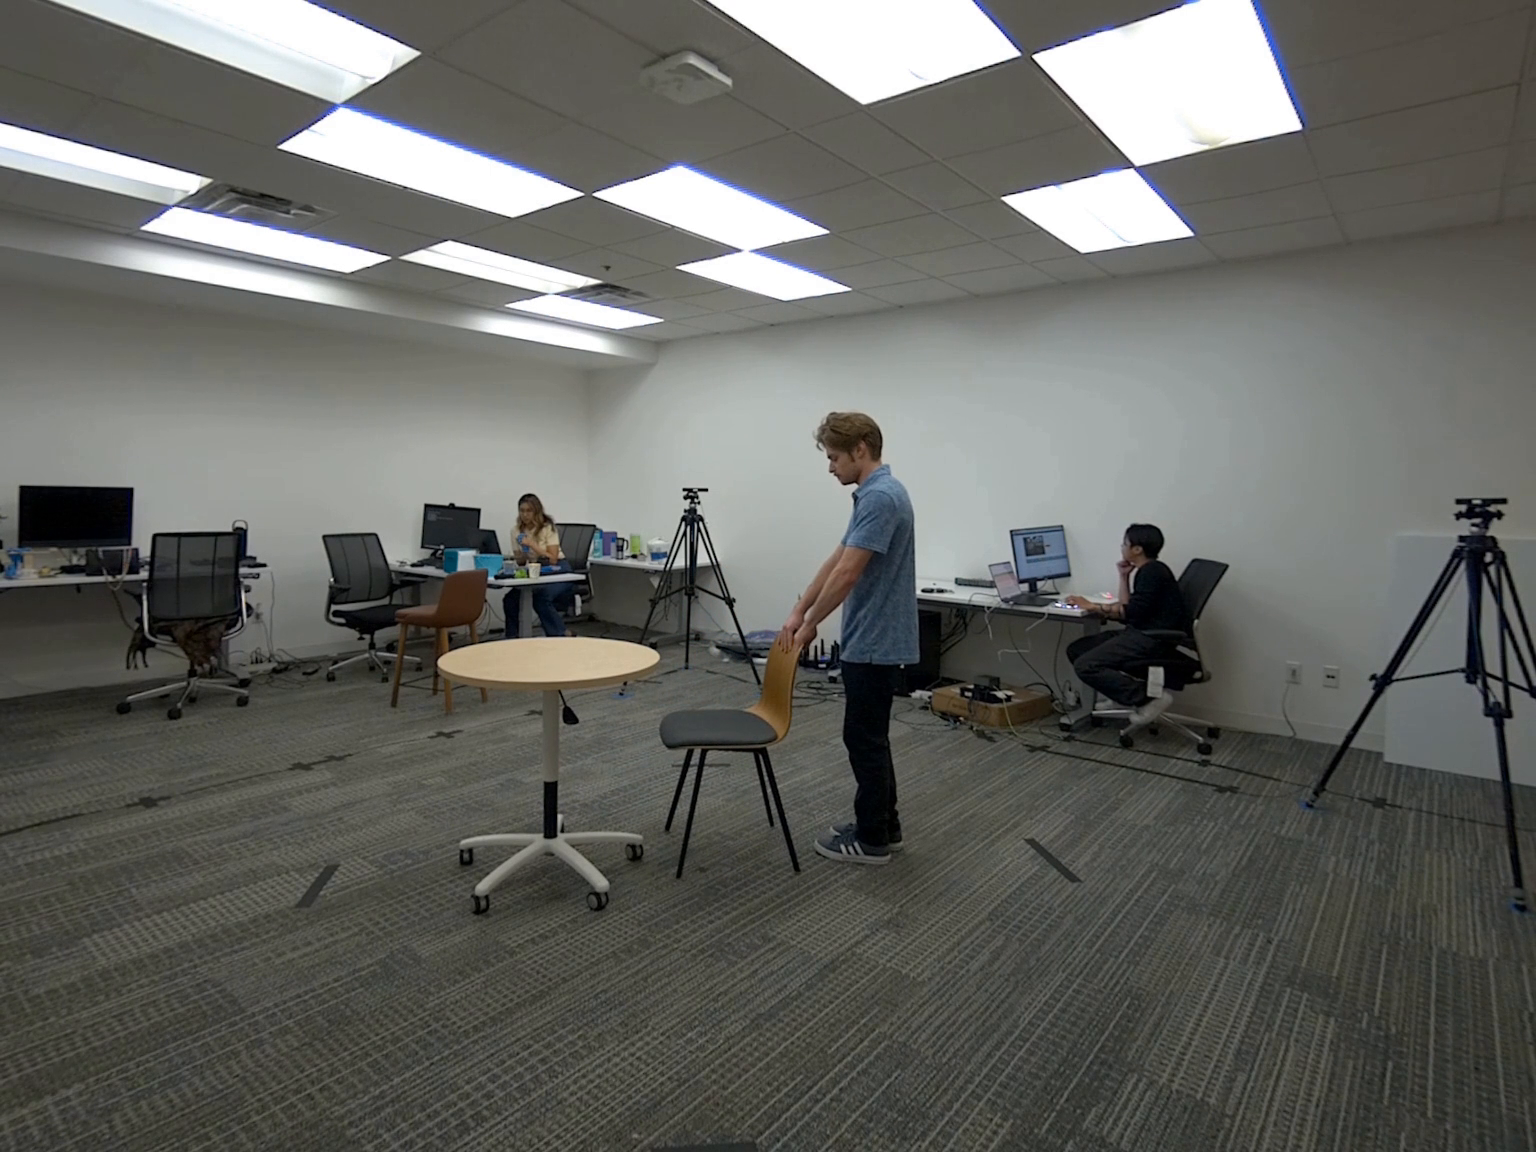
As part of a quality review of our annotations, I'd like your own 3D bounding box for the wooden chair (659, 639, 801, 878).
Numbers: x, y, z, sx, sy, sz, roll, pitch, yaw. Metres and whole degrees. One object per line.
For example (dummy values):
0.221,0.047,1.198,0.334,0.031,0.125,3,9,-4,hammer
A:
-0.161,0.628,3.253,0.516,0.875,0.486,5,3,-12,wooden chair
